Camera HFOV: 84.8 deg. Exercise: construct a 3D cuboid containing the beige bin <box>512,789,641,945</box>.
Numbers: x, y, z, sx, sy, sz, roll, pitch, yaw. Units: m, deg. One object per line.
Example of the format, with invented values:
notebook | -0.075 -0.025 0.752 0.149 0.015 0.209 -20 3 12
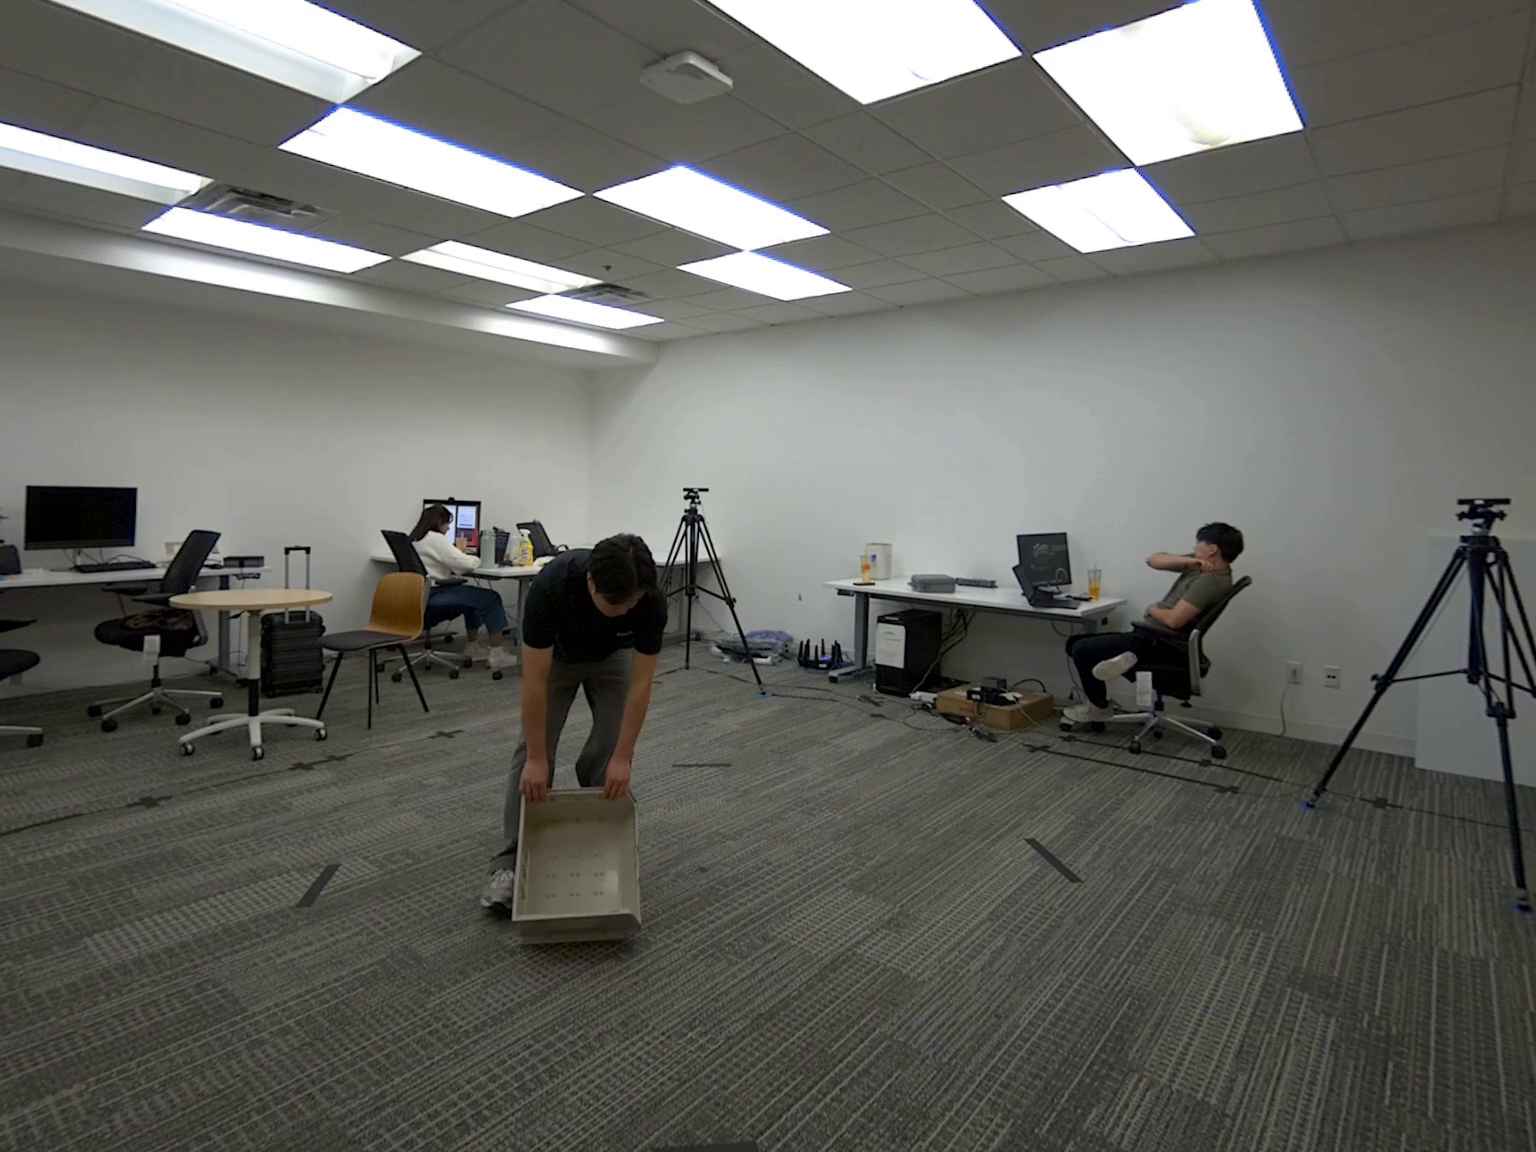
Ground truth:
beige bin | -0.598 0.904 2.689 0.374 0.184 0.437 -2 43 -8
